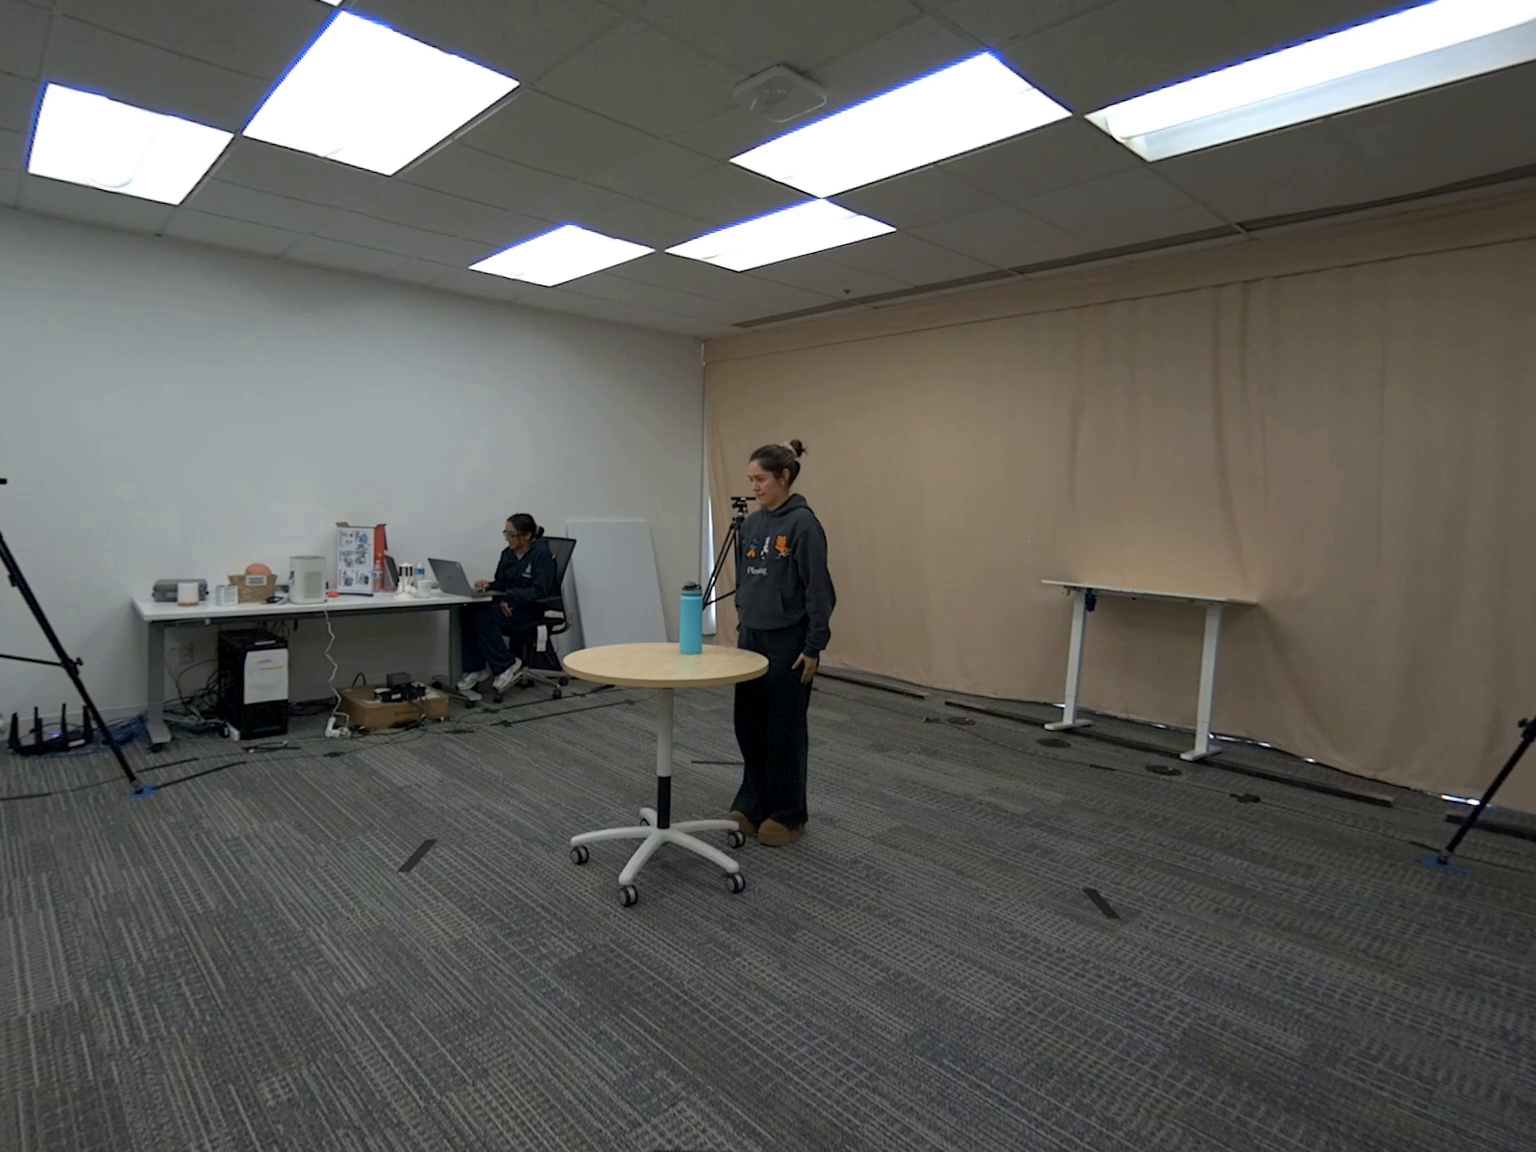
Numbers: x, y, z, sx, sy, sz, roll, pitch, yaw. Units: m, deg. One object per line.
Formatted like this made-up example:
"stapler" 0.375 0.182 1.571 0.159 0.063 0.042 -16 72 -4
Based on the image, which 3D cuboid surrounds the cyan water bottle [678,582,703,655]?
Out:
"cyan water bottle" -0.314 0.163 3.316 0.092 0.283 0.092 1 -1 -1
